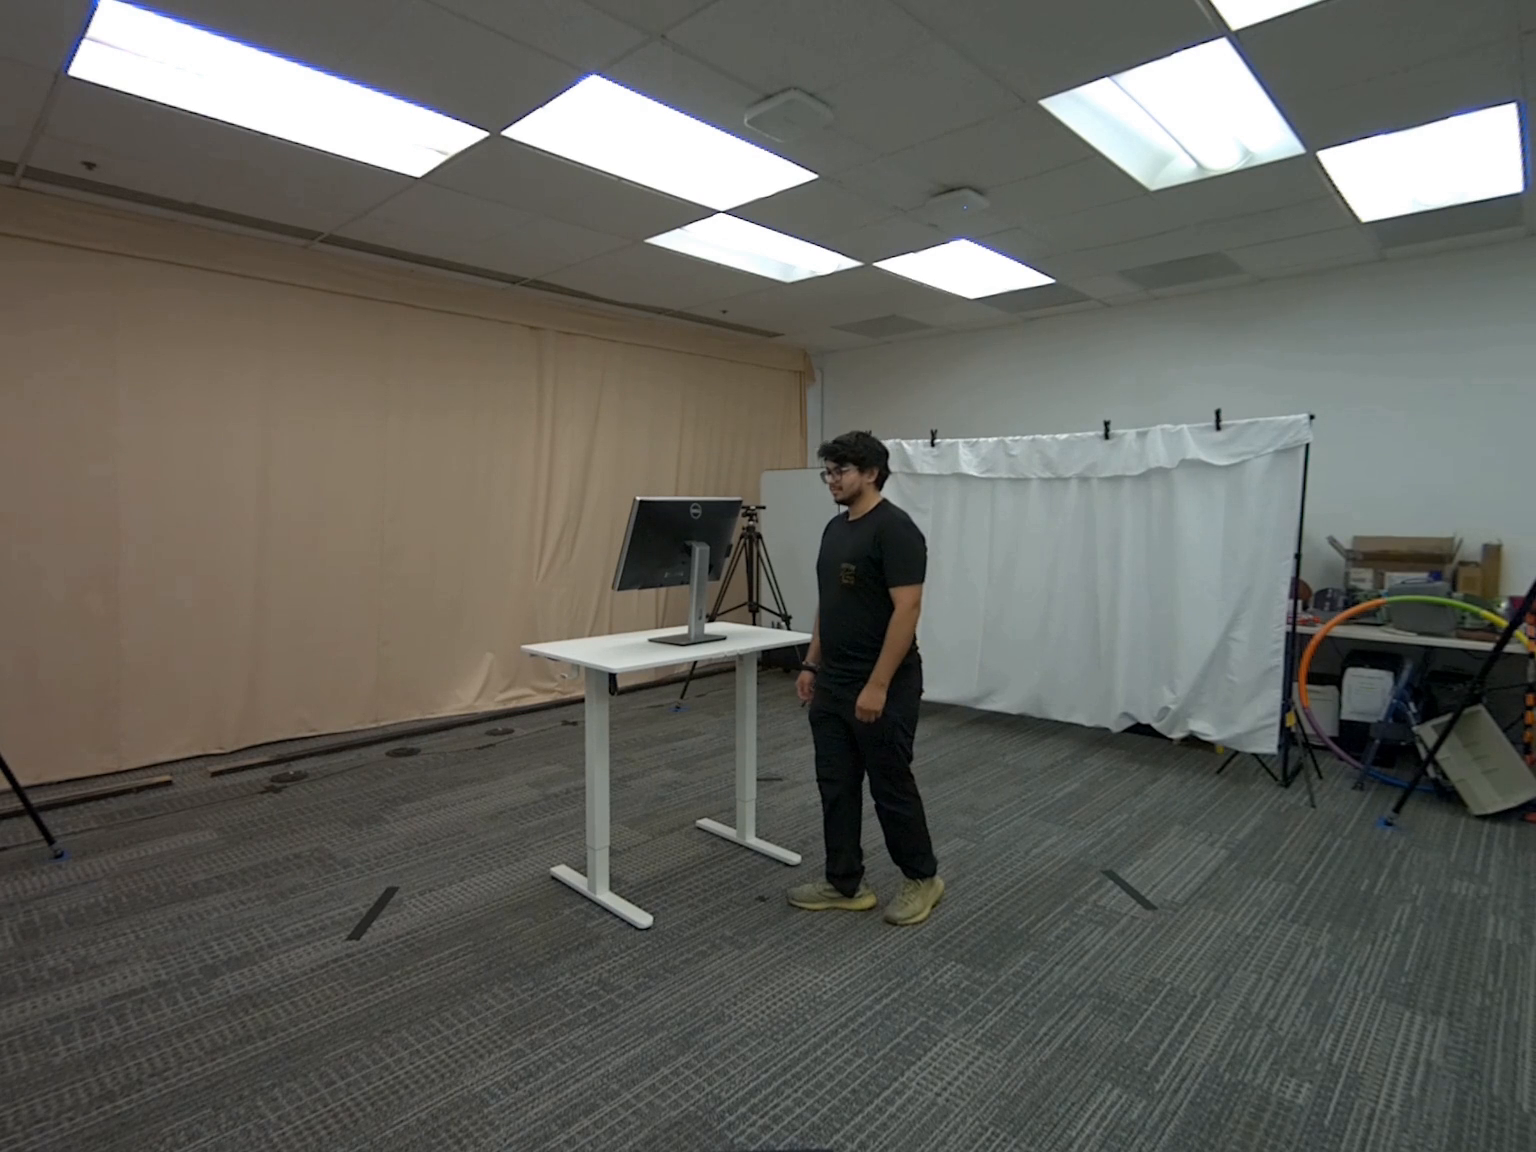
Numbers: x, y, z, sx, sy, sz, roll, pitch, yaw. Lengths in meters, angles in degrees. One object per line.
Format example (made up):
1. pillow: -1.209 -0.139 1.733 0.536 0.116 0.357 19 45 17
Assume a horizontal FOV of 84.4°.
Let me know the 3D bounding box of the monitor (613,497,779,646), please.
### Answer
1. monitor: -0.285 -0.020 3.169 0.218 0.551 0.548 16 13 38
